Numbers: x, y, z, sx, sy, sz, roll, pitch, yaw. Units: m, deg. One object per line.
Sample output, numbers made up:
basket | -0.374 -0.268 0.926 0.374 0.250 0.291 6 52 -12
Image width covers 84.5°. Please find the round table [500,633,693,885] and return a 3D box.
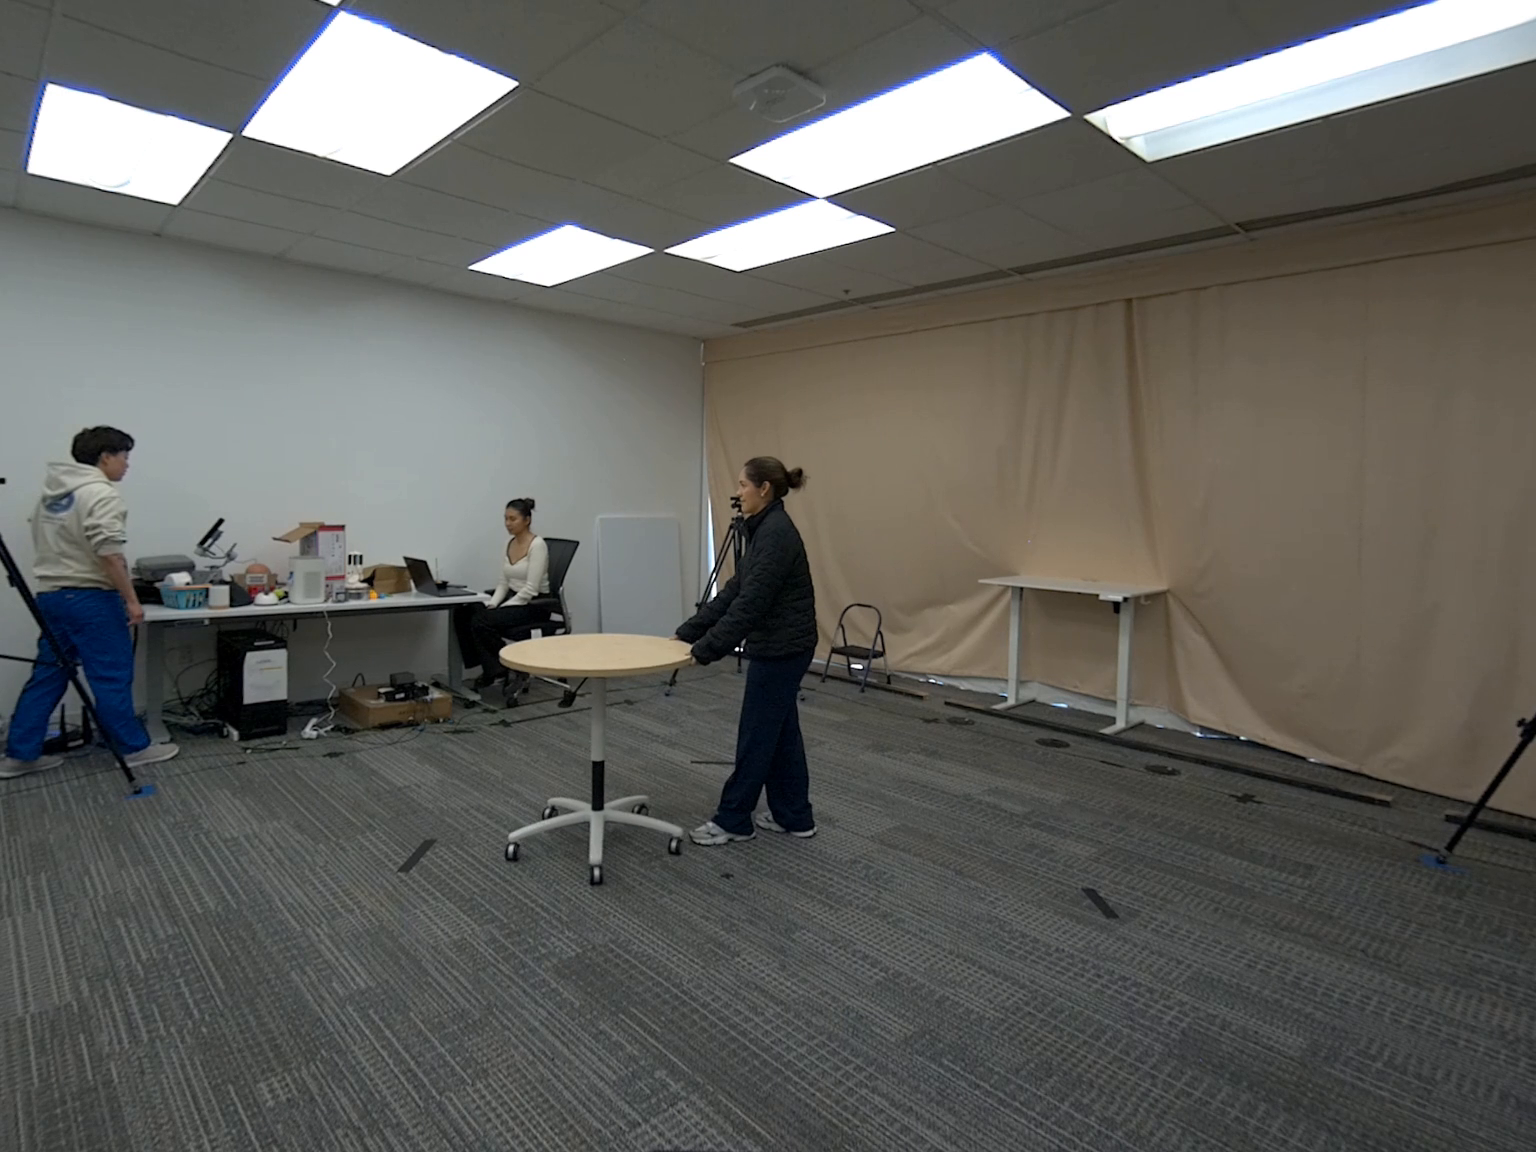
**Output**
round table | -0.664 0.684 3.319 0.784 0.784 0.788 1 4 -1
